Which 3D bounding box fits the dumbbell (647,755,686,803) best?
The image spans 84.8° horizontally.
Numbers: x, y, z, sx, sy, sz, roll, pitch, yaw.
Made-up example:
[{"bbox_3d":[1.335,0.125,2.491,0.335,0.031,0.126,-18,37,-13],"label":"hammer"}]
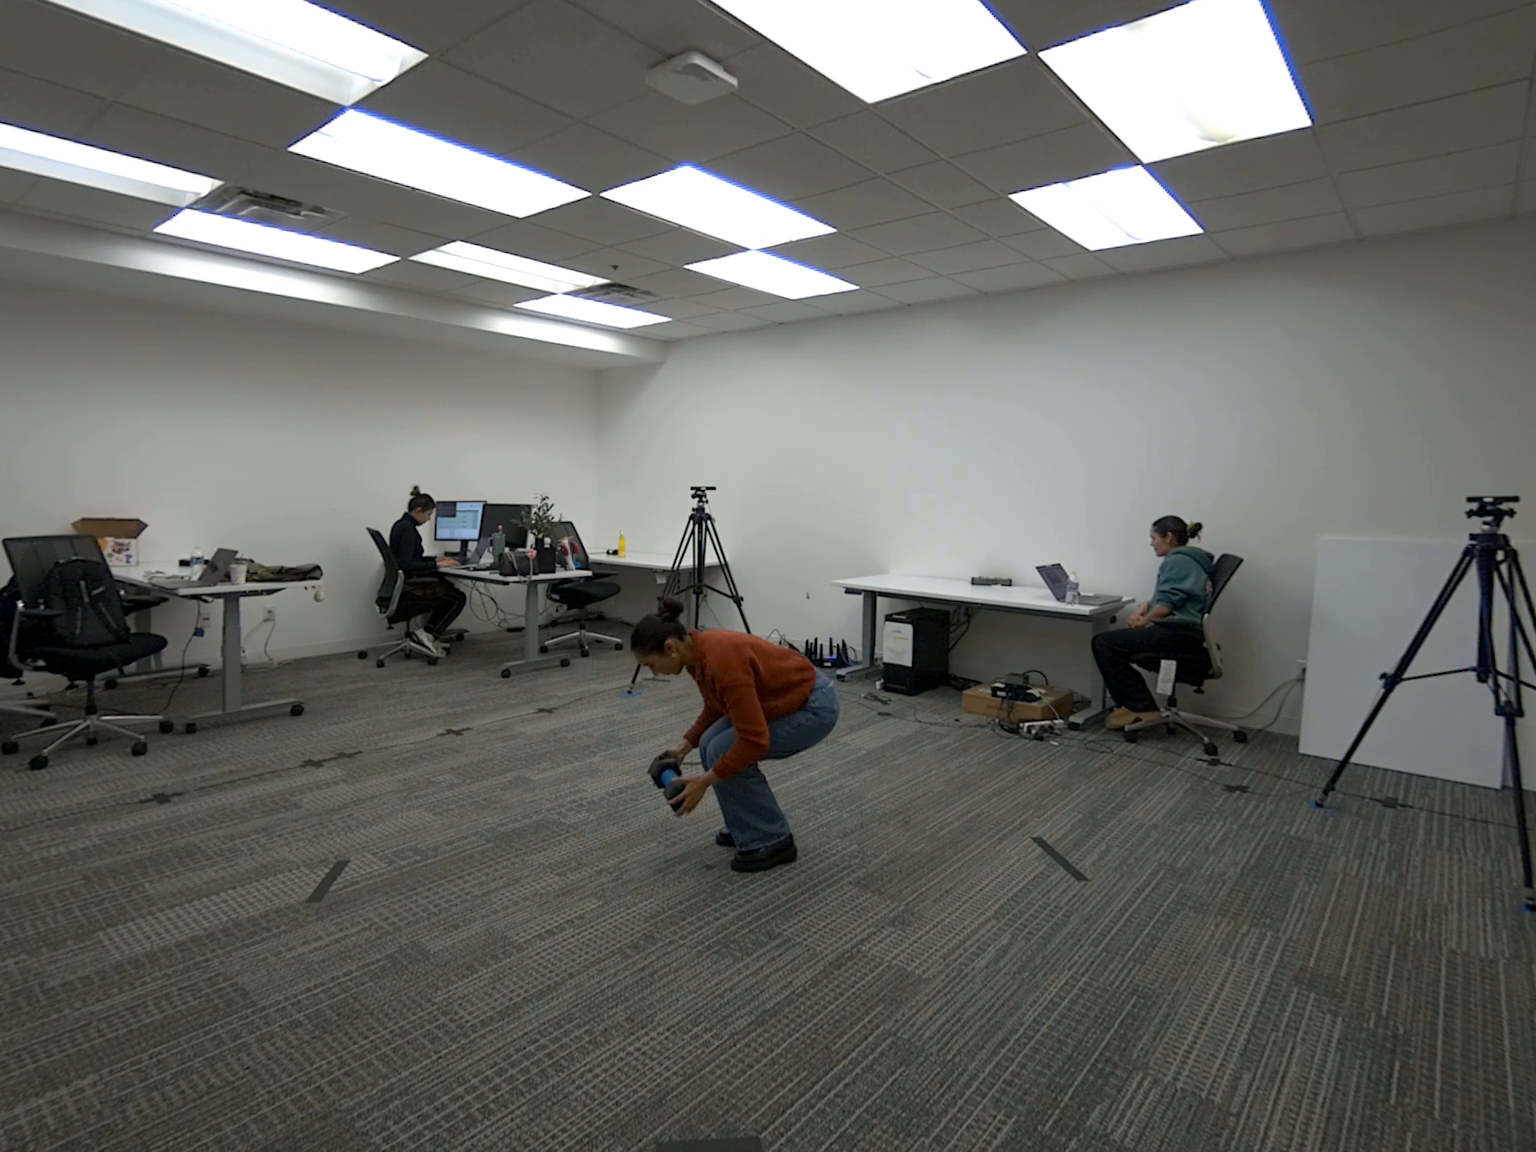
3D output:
[{"bbox_3d":[-0.361,0.759,3.159,0.120,0.108,0.301,1,8,-21],"label":"dumbbell"}]
